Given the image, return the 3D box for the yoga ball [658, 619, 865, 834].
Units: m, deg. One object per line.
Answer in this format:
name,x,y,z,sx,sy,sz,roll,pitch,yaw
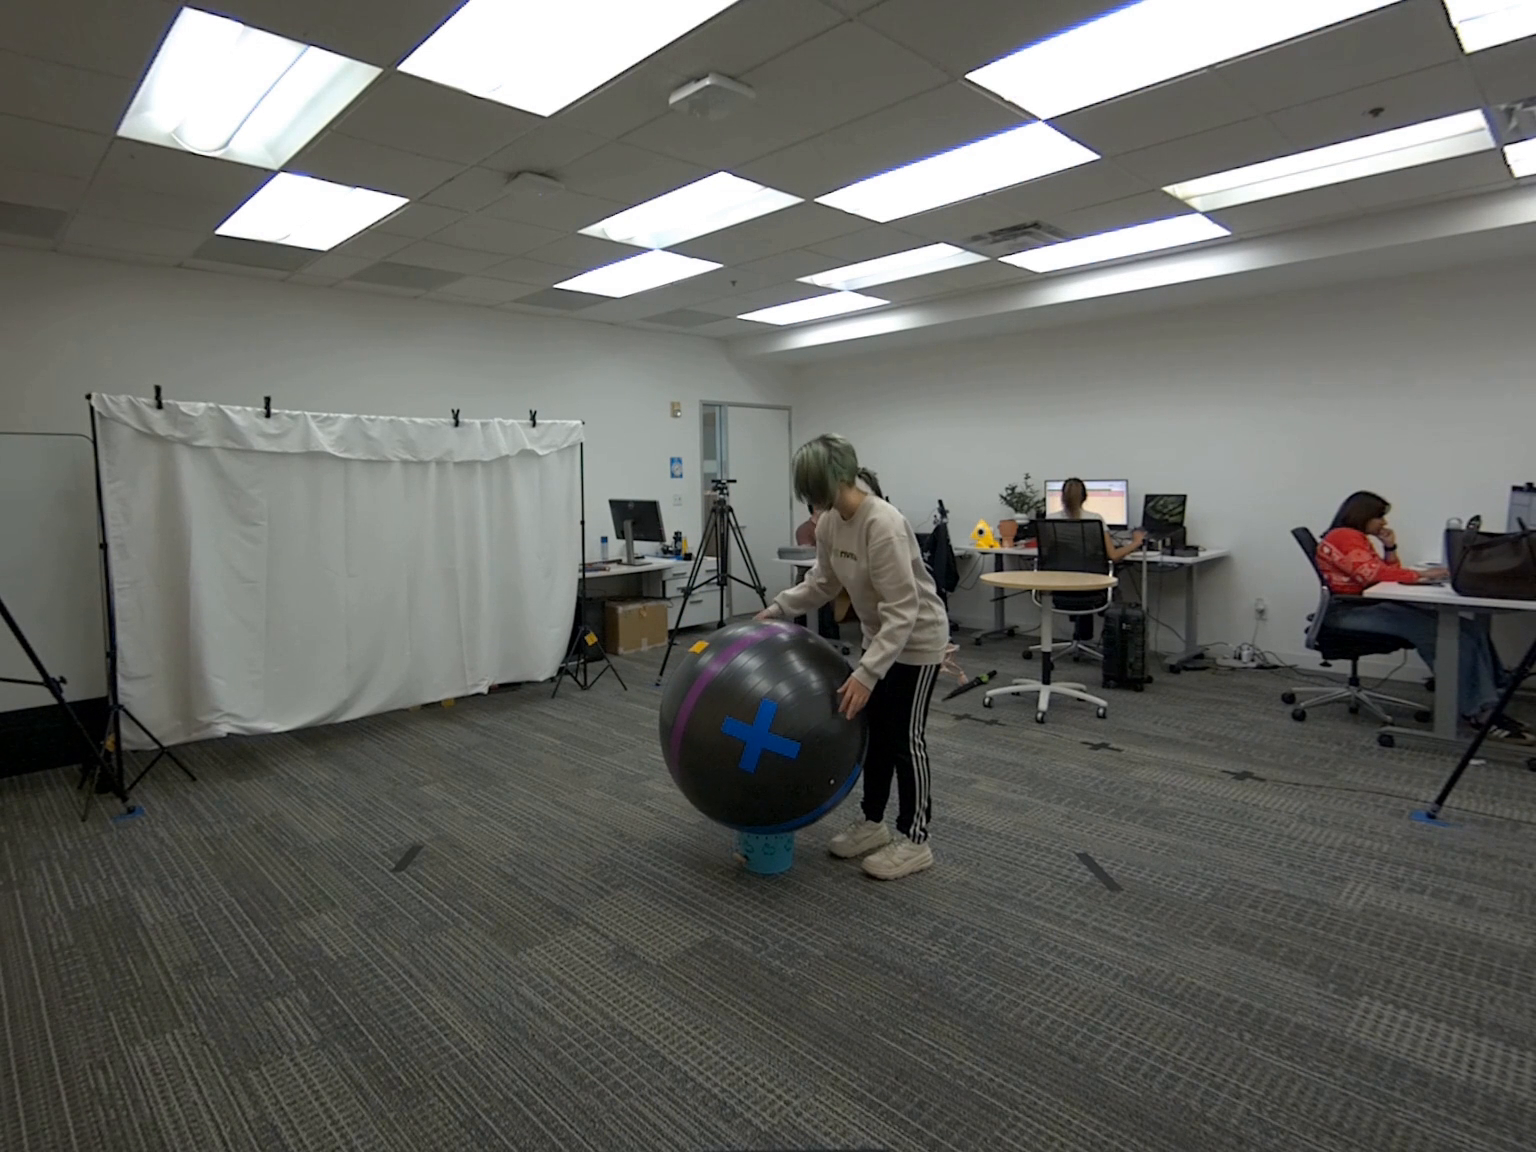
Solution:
yoga ball,-0.012,0.541,3.083,0.757,0.755,0.762,-1,5,-2
